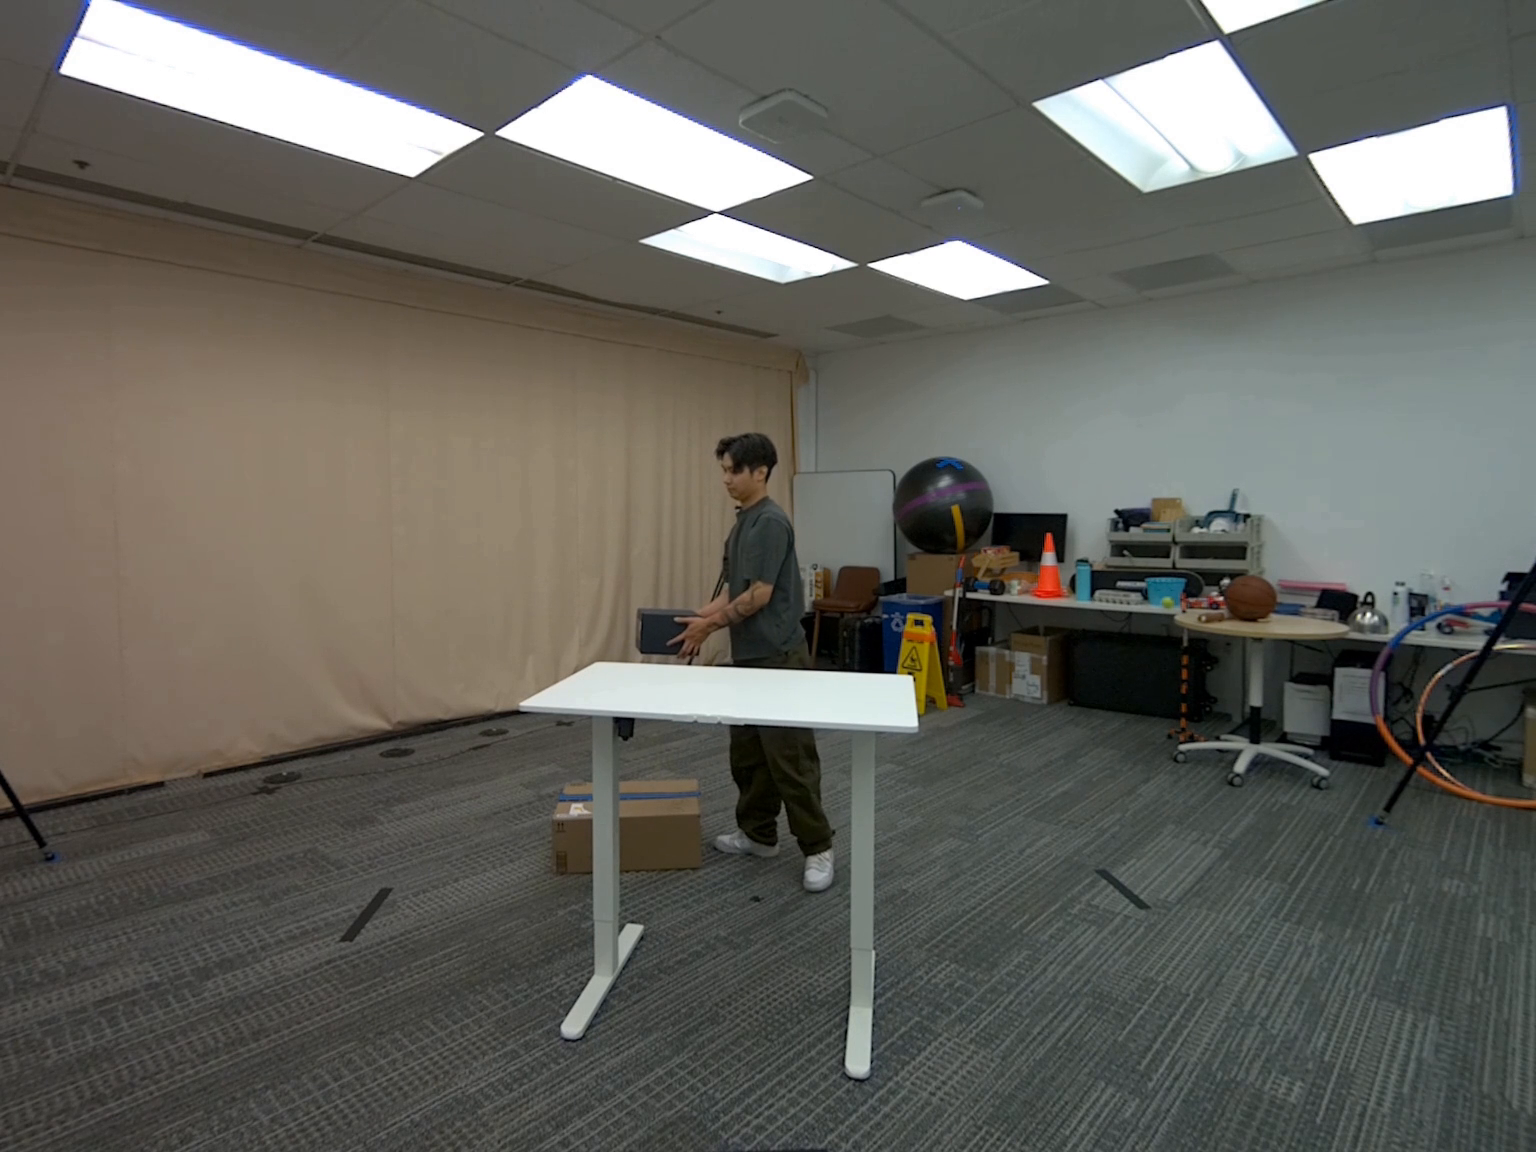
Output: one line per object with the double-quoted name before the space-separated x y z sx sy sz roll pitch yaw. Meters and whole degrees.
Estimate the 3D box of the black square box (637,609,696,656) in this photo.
"black square box" -0.384 0.219 3.299 0.226 0.156 0.219 3 1 -8
